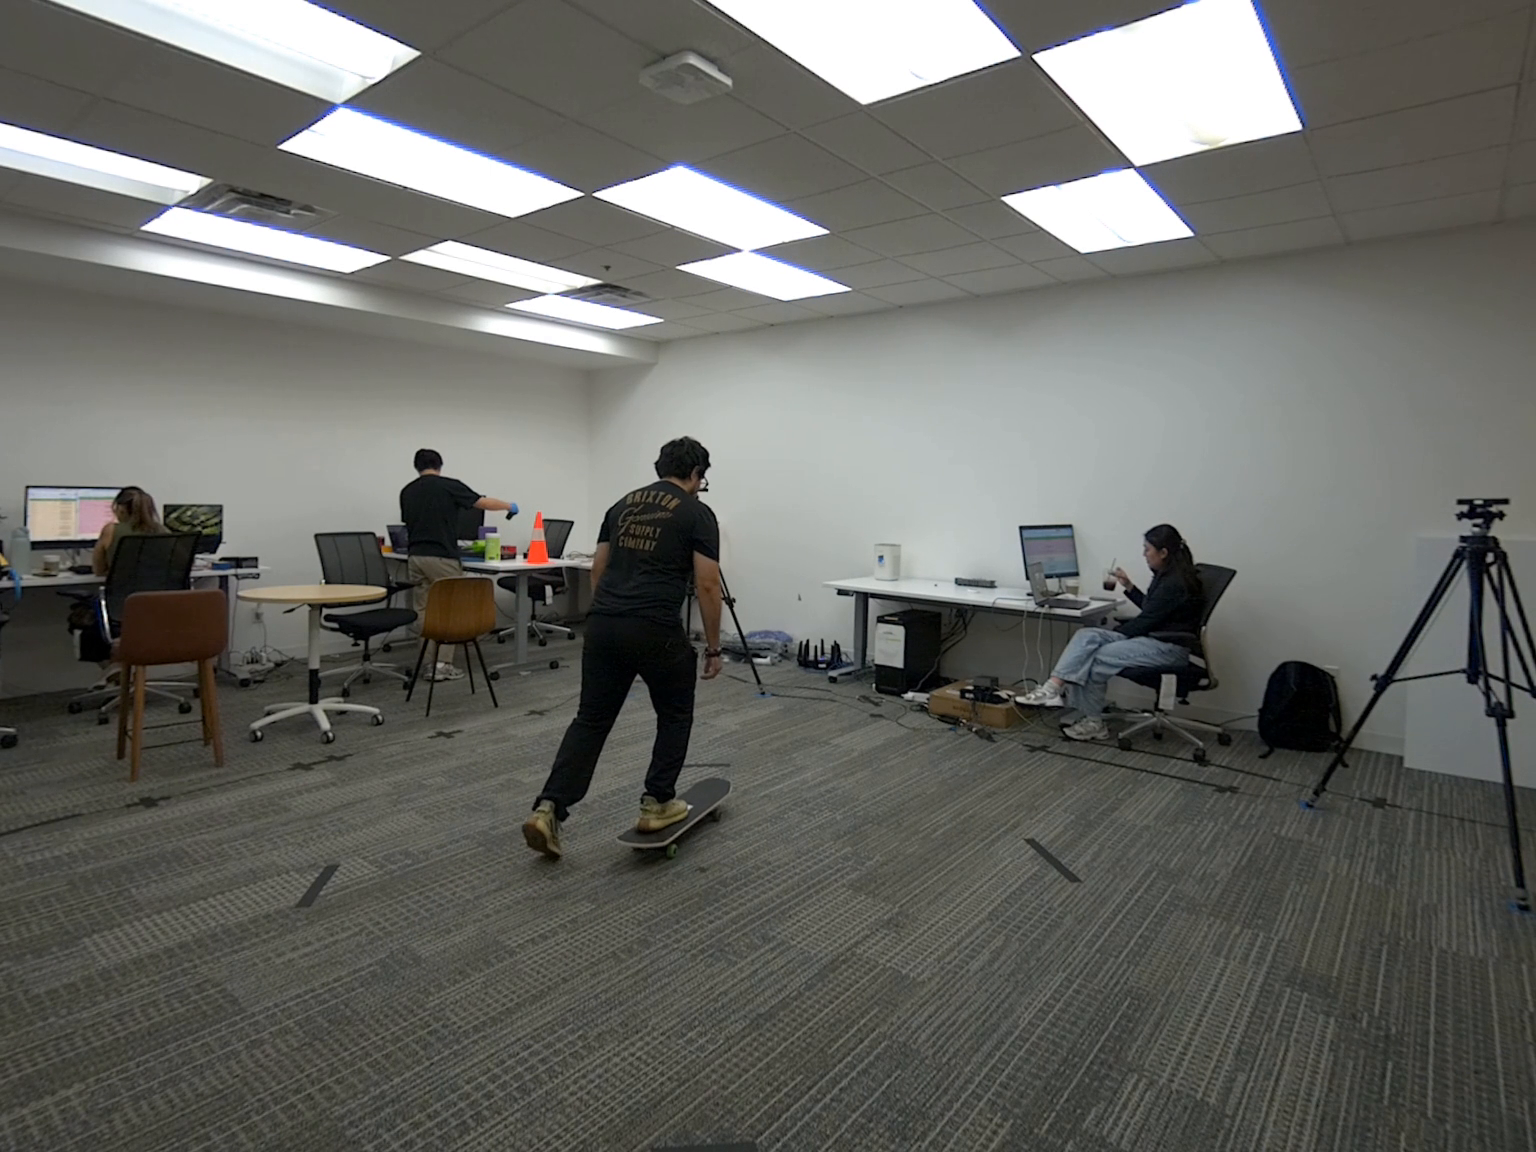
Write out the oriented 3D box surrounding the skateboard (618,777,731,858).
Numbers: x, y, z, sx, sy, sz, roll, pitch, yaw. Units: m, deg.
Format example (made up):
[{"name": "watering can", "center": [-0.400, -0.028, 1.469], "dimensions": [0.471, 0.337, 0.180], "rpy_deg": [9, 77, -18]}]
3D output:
[{"name": "skateboard", "center": [-0.375, 0.986, 3.416], "dimensions": [0.198, 0.110, 0.770], "rpy_deg": [-1, 4, 22]}]
